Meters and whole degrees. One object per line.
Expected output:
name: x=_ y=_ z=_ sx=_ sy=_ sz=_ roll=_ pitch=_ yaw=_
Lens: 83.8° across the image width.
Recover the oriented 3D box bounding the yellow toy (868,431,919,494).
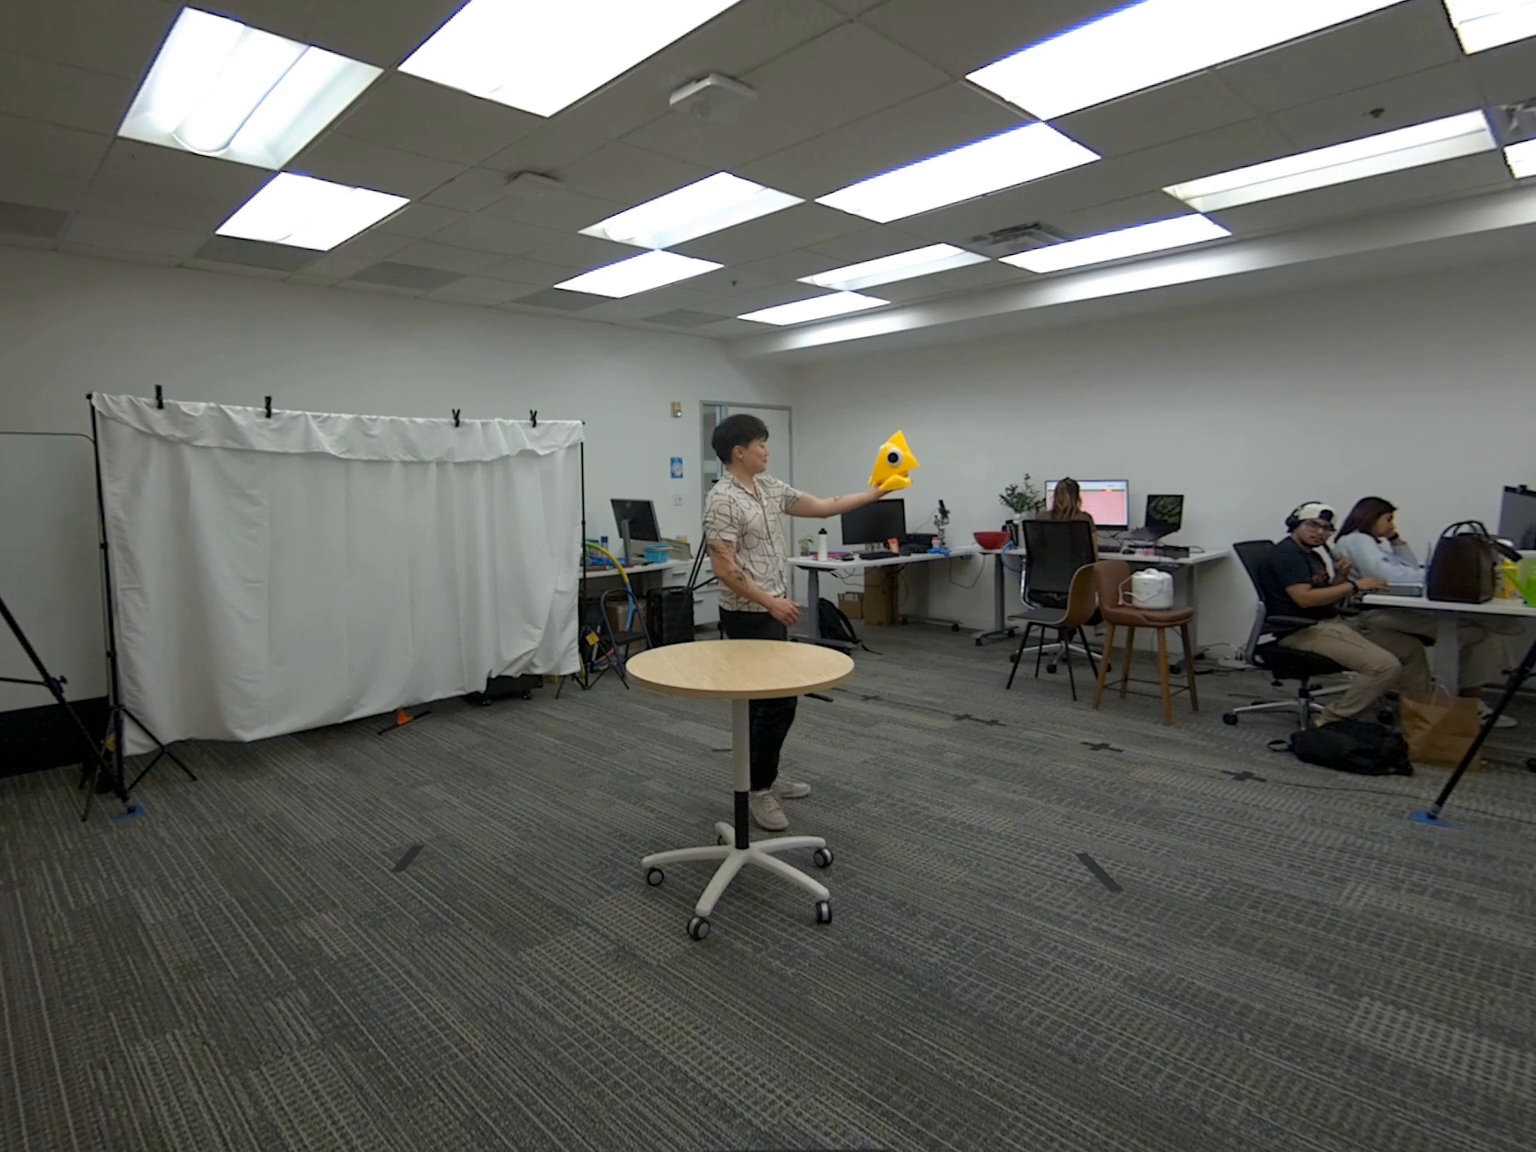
yellow toy: x=0.530 y=-0.513 z=3.739 sx=0.191 sy=0.227 sz=0.210 roll=-12 pitch=17 yaw=-12
